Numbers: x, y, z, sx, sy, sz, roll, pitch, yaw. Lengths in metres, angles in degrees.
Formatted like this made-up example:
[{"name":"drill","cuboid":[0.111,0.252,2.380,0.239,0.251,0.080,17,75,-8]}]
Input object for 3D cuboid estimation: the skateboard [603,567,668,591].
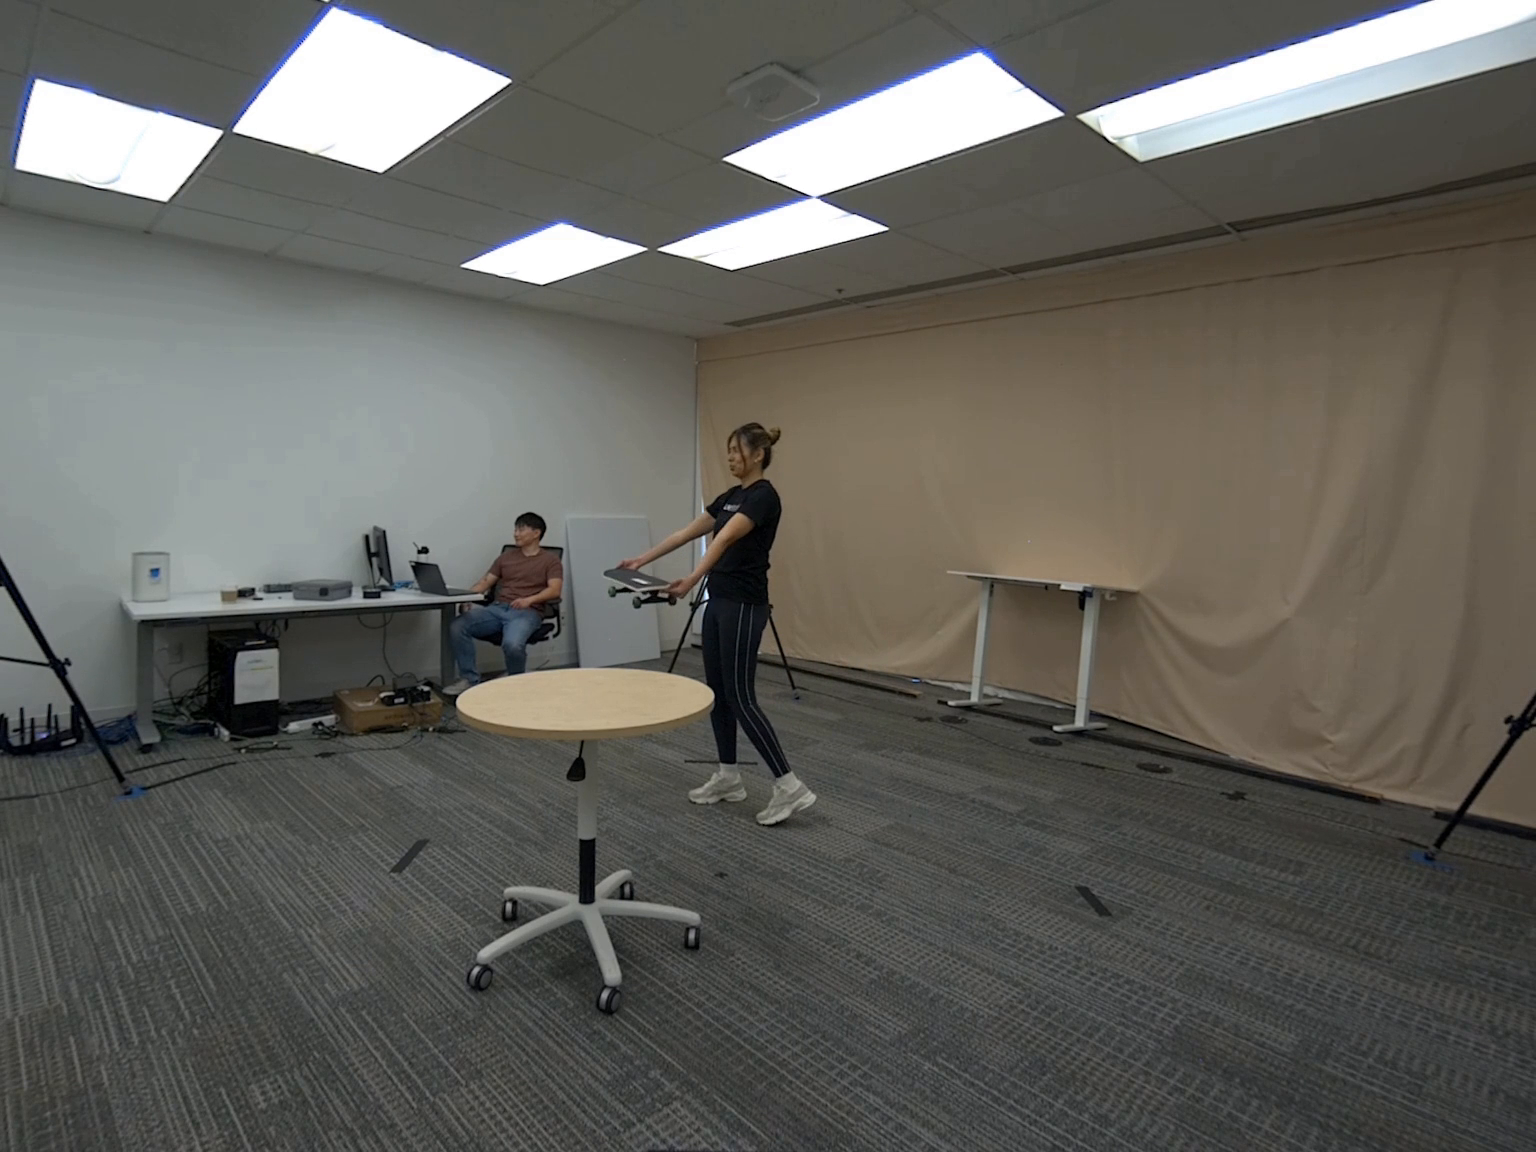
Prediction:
[{"name":"skateboard","cuboid":[-0.554,0.061,3.651,0.190,0.110,0.801,-3,6,-24]}]
